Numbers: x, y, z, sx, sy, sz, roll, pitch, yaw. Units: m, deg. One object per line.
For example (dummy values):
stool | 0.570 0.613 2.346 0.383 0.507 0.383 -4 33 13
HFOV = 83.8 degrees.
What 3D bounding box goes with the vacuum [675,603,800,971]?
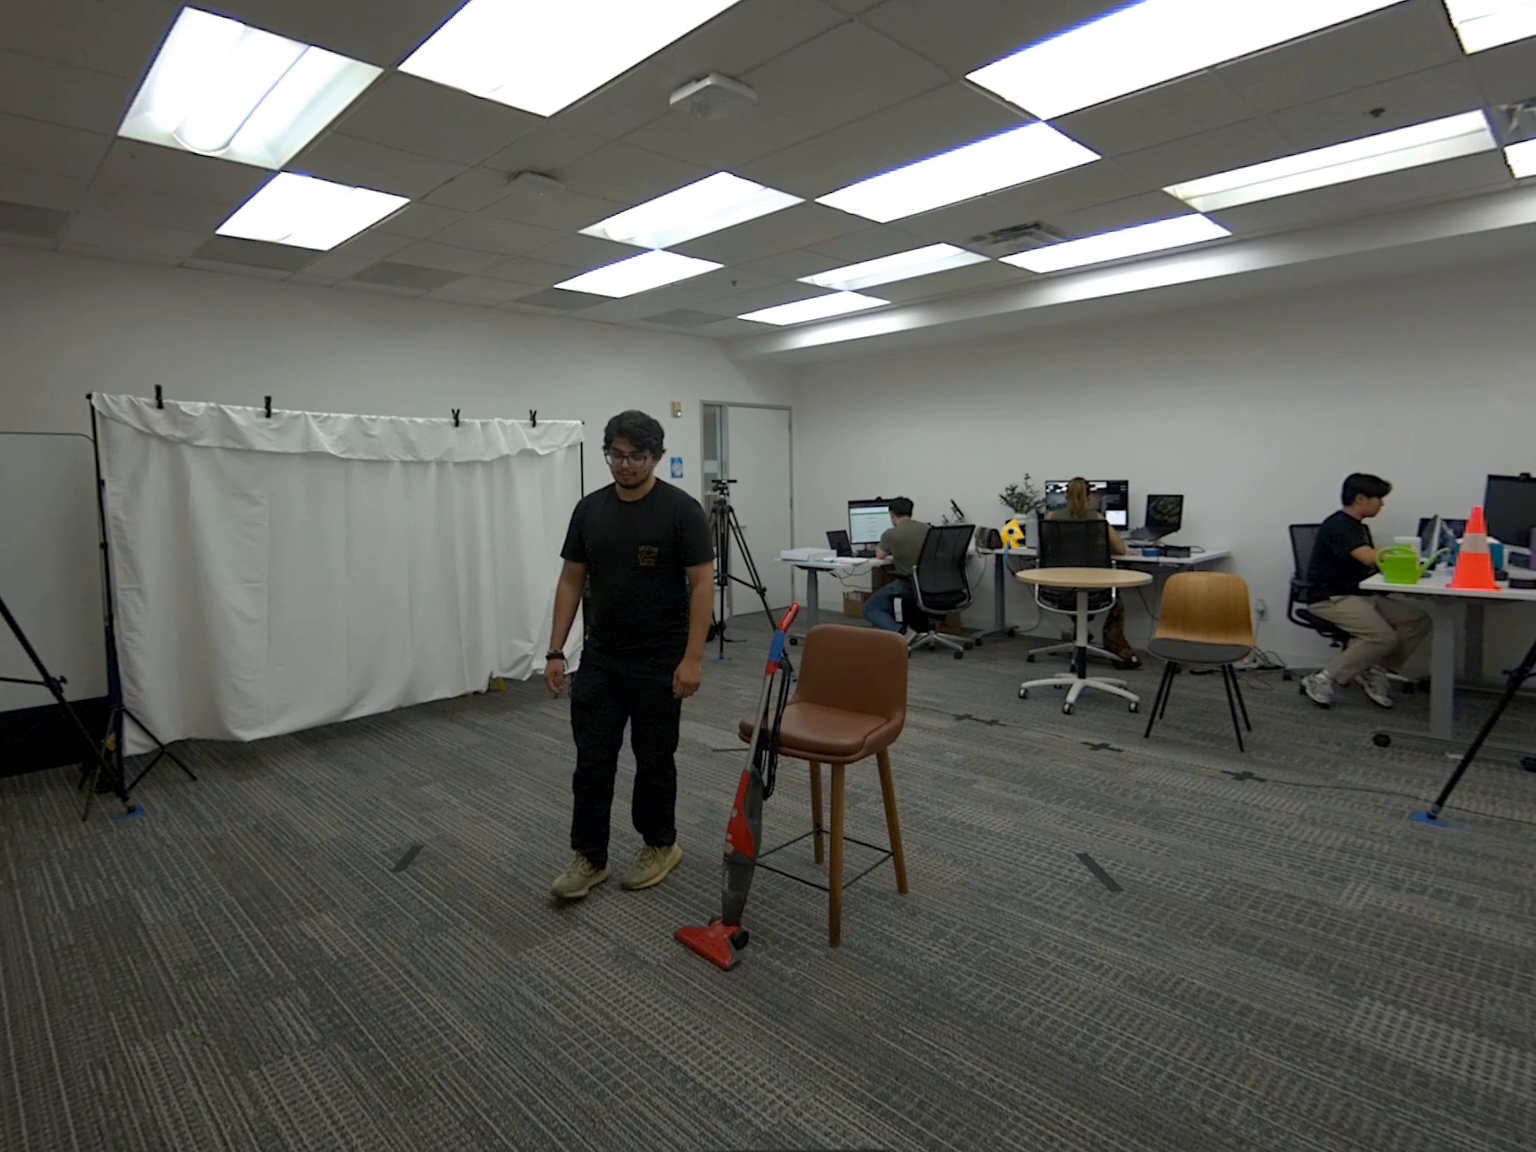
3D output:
vacuum | -0.032 0.613 2.644 0.260 1.056 0.139 4 -13 45
